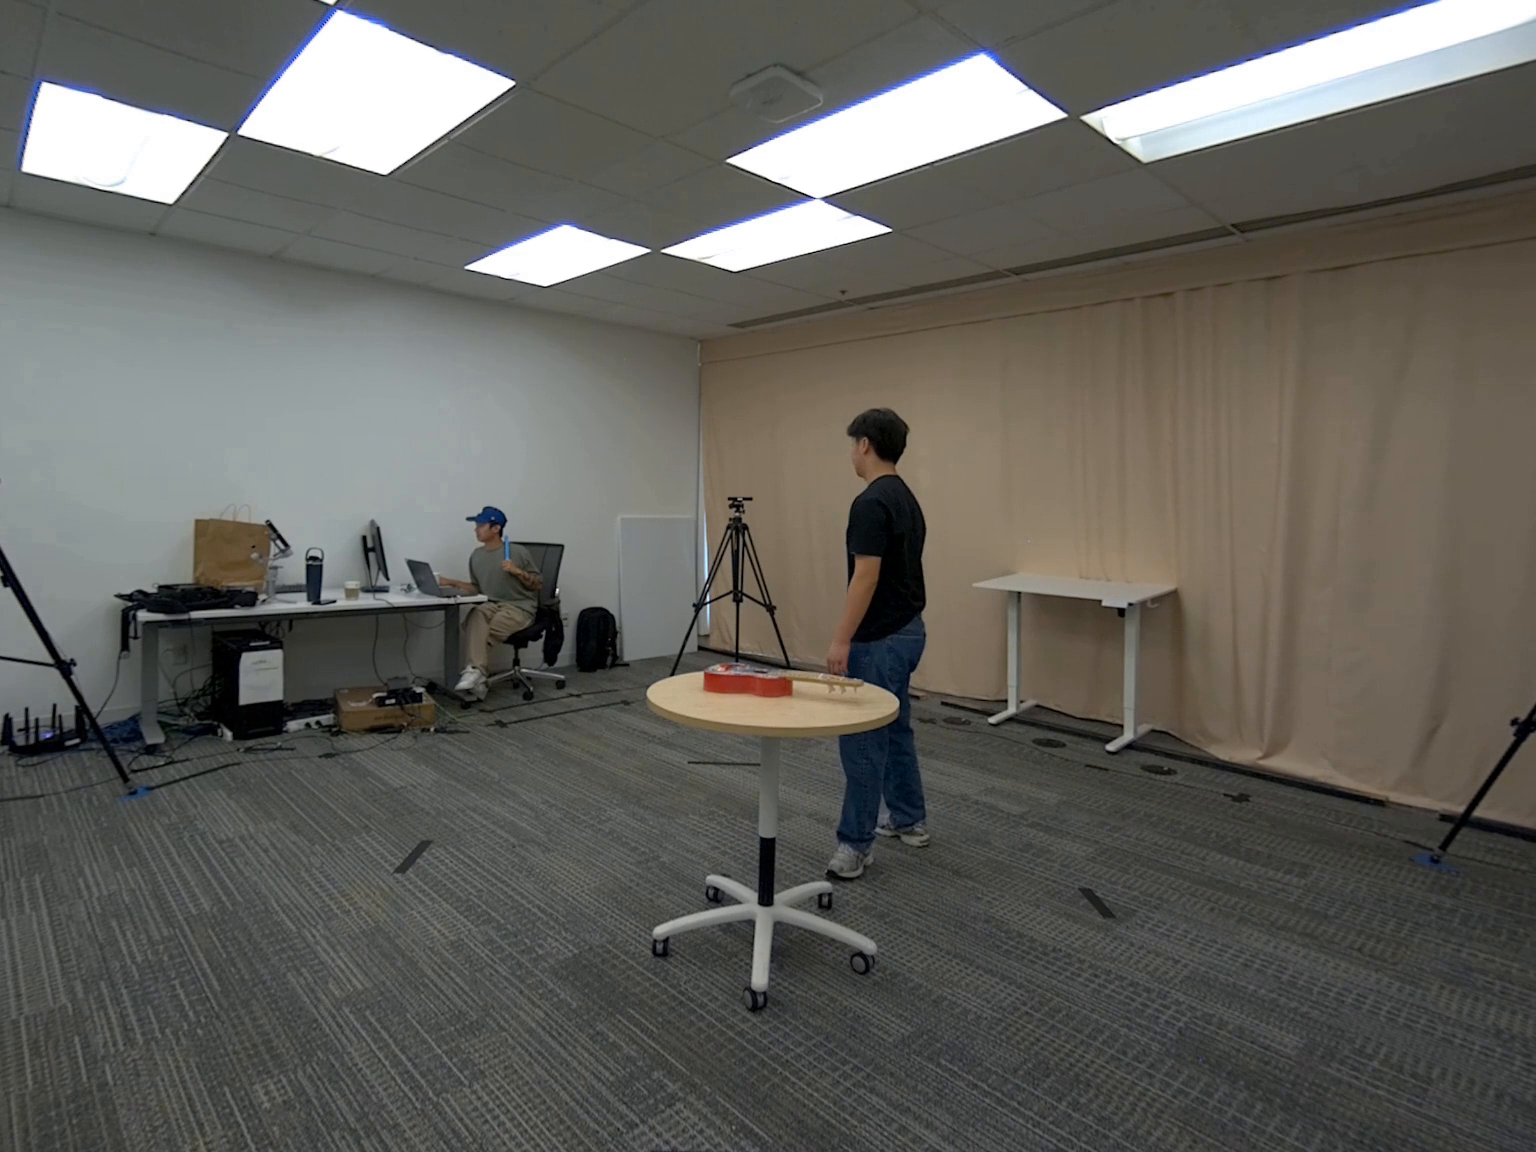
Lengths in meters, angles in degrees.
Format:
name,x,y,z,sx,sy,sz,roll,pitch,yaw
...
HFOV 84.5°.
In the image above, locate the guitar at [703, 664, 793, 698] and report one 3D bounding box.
name,x,y,z,sx,sy,sz,roll,pitch,yaw
guitar,0.023,0.332,2.554,0.509,0.070,0.189,4,5,31
